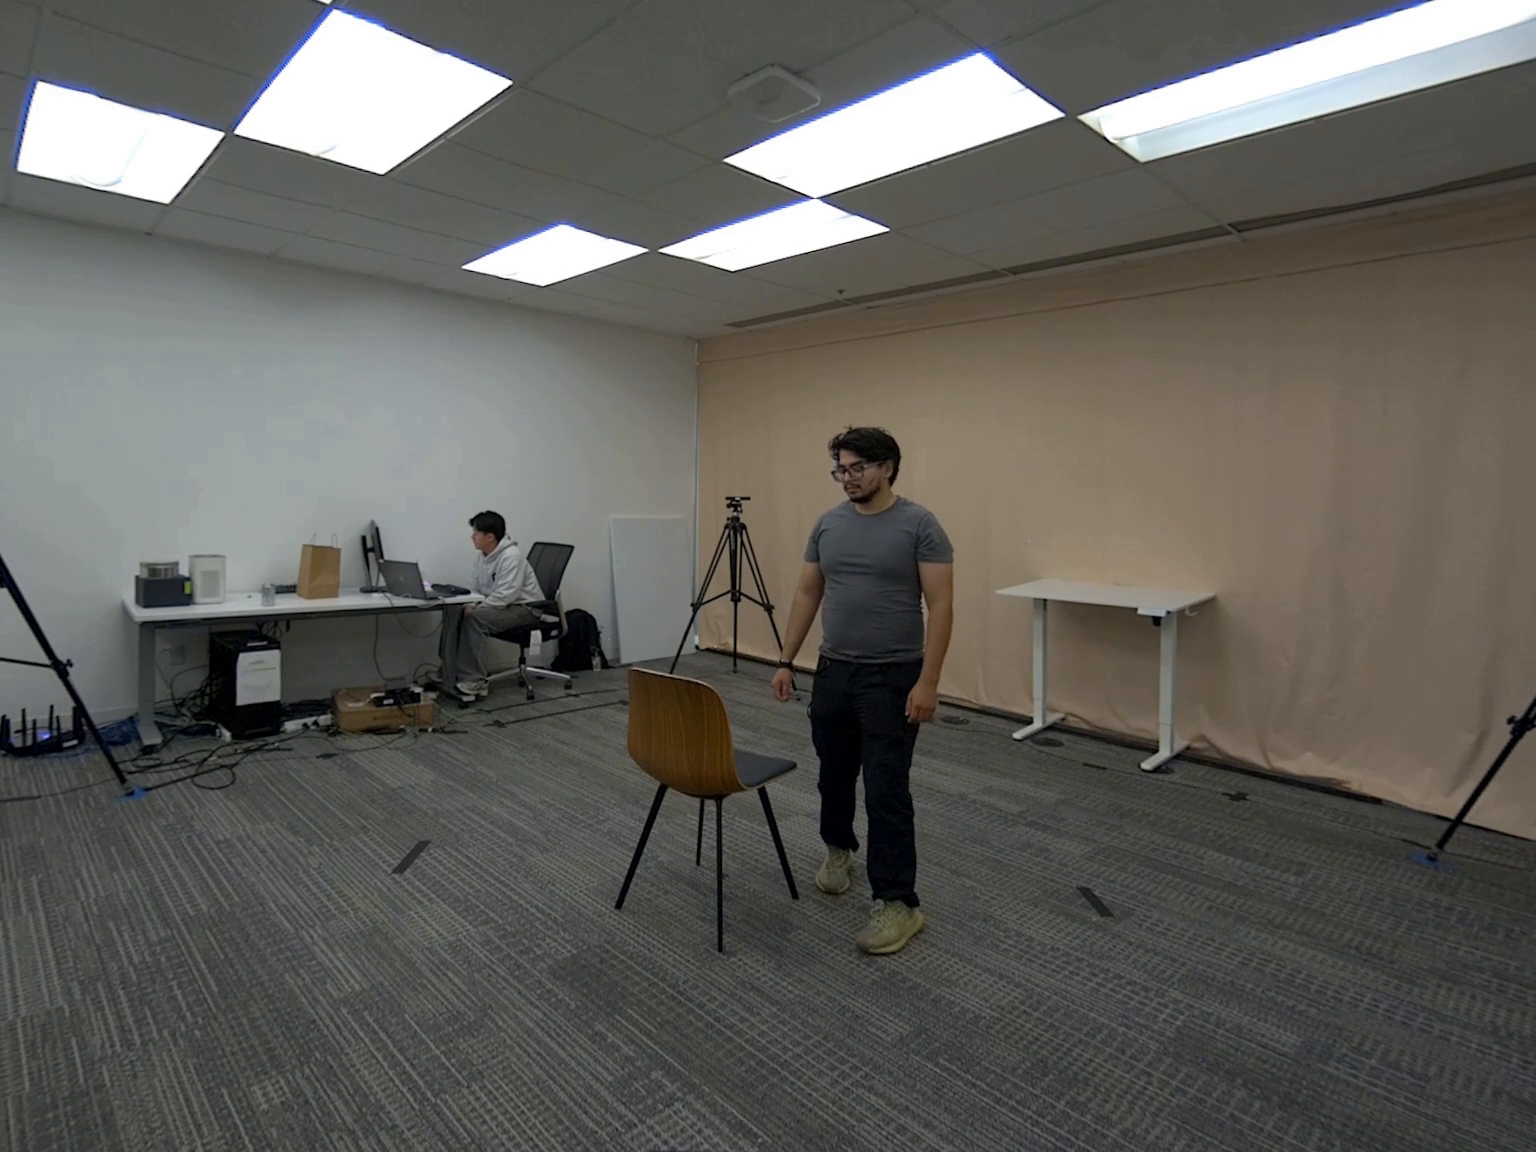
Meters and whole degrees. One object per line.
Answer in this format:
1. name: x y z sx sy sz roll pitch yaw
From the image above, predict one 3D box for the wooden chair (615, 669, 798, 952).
1. wooden chair: -0.194 0.697 2.864 0.489 0.873 0.513 3 8 35
